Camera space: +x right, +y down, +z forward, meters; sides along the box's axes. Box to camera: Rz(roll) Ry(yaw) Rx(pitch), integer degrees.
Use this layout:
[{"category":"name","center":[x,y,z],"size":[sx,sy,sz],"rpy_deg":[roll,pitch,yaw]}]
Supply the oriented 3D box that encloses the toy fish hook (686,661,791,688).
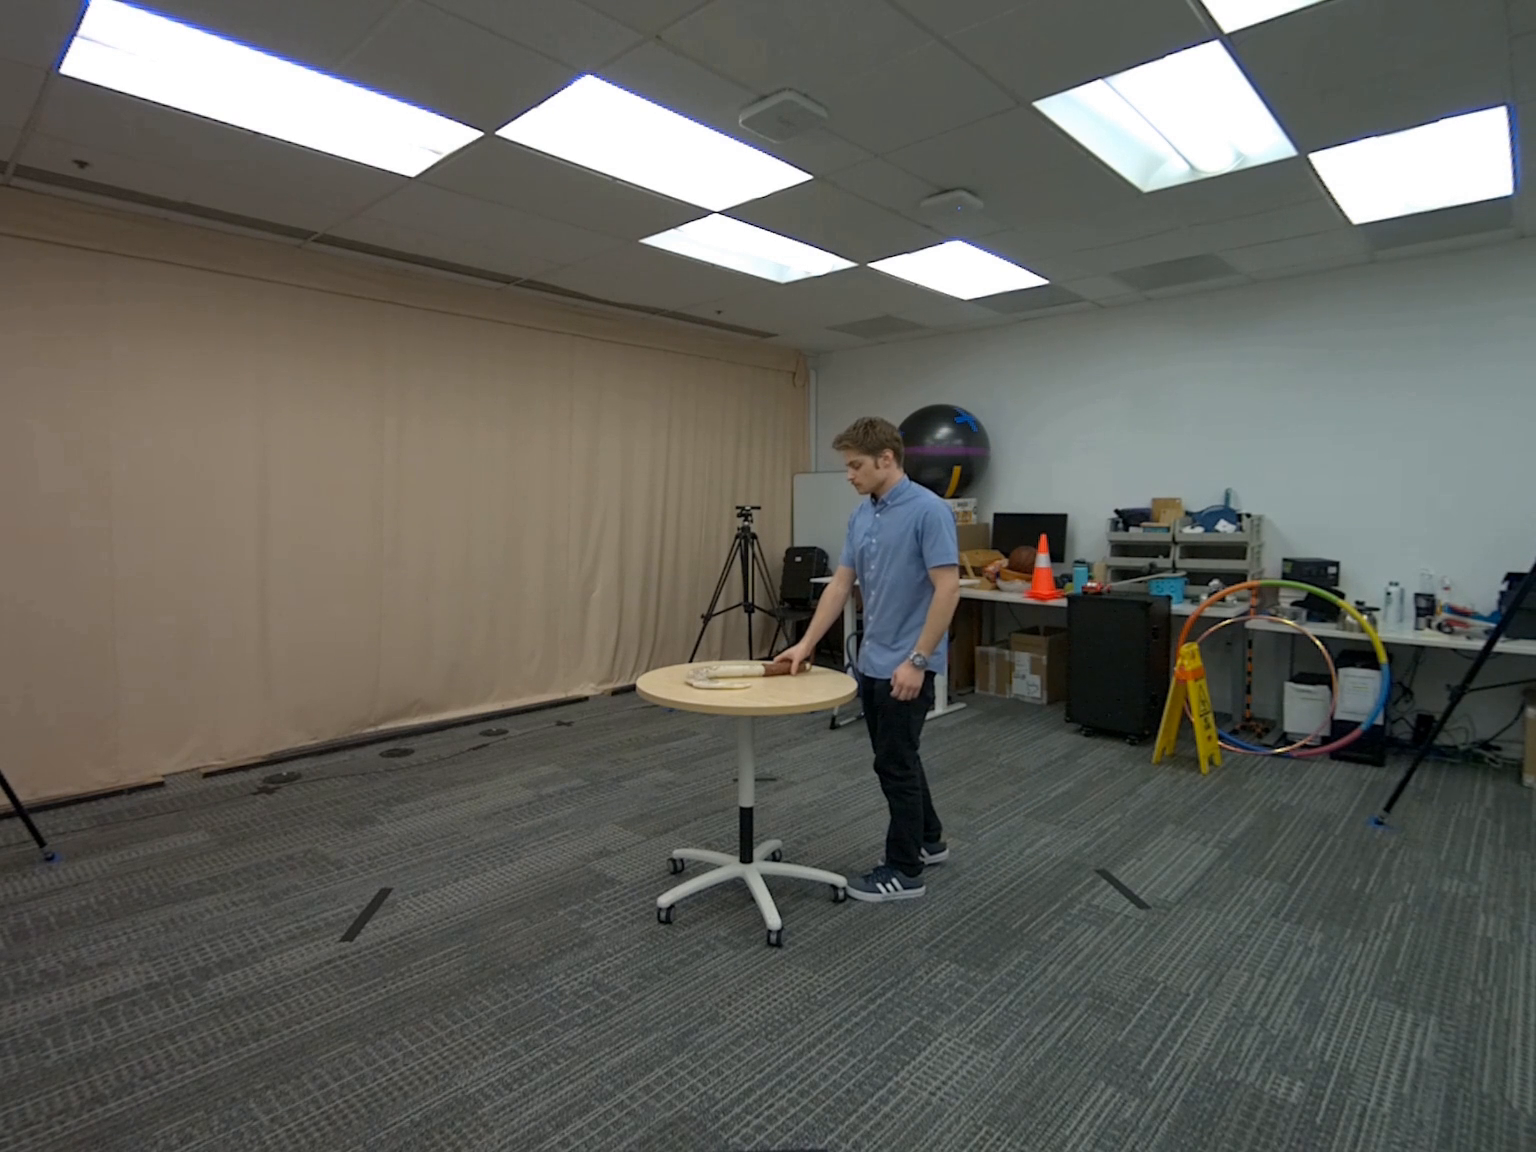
[{"category":"toy fish hook","center":[-0.038,0.352,2.945],"size":[0.495,0.048,0.231],"rpy_deg":[-4,12,-23]}]
